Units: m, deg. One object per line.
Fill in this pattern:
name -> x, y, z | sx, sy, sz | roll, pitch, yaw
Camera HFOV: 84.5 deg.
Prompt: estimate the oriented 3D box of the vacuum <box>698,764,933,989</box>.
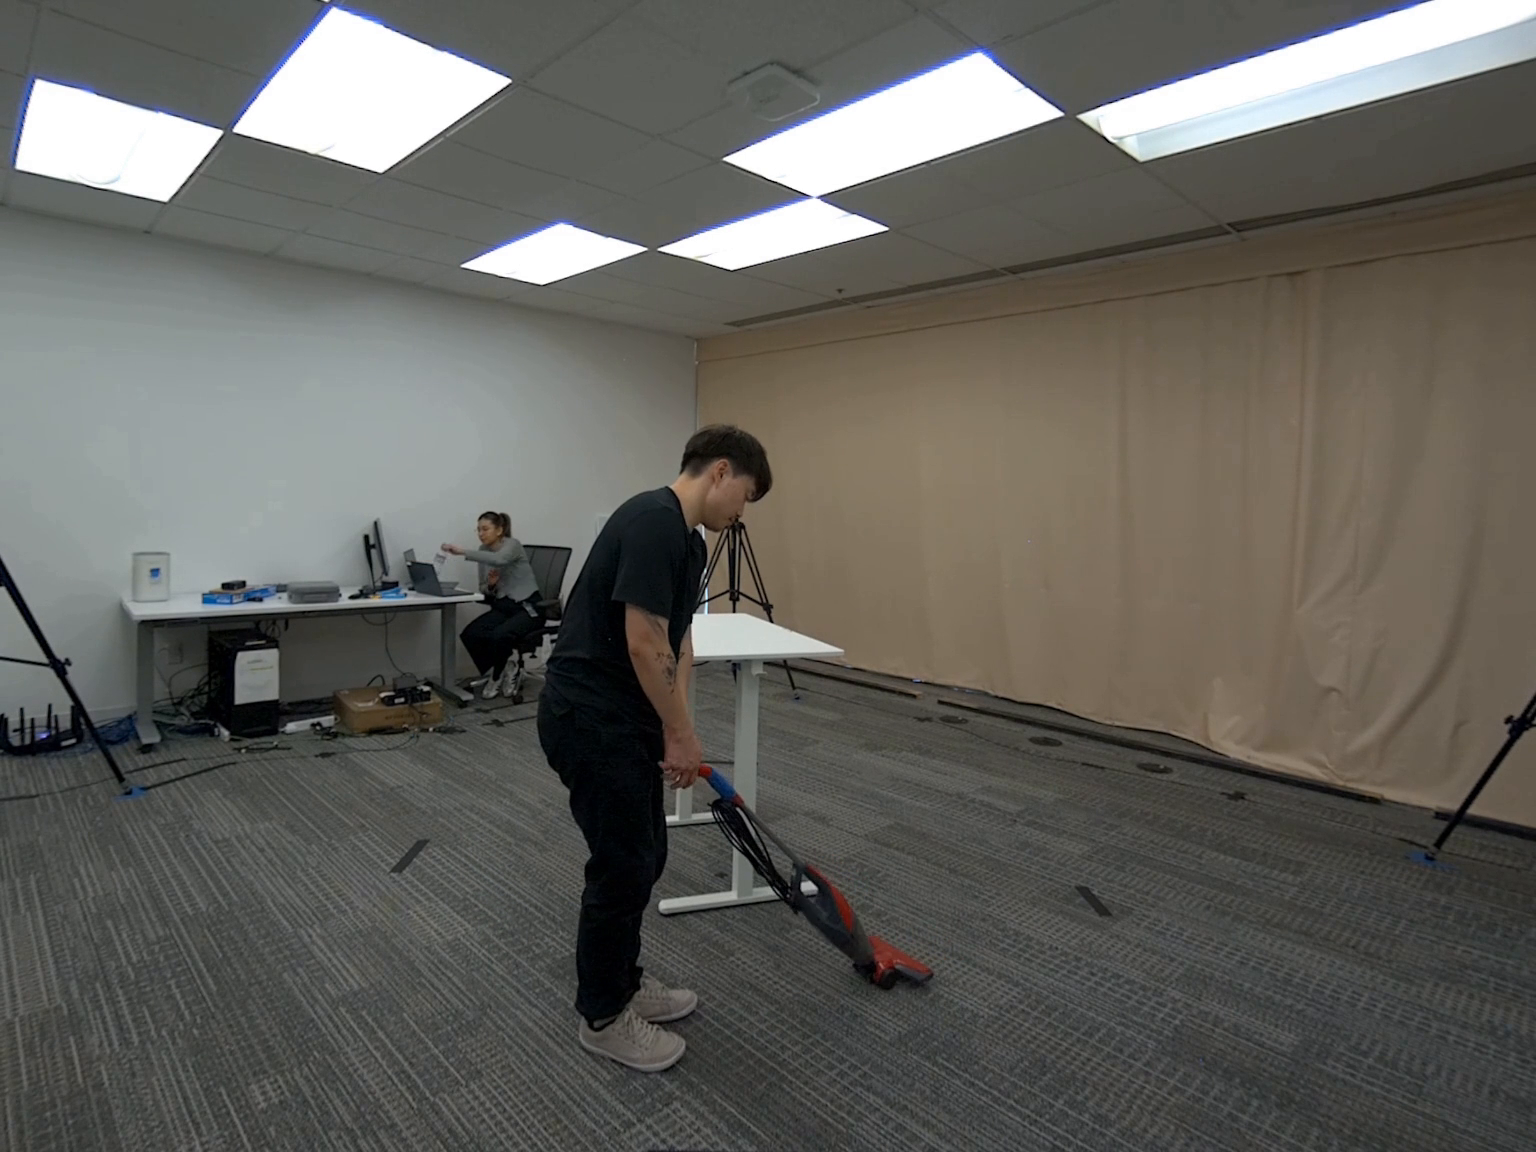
vacuum -> 0.074, 0.815, 2.248 | 0.258, 0.144, 1.021 | 2, -42, 50
